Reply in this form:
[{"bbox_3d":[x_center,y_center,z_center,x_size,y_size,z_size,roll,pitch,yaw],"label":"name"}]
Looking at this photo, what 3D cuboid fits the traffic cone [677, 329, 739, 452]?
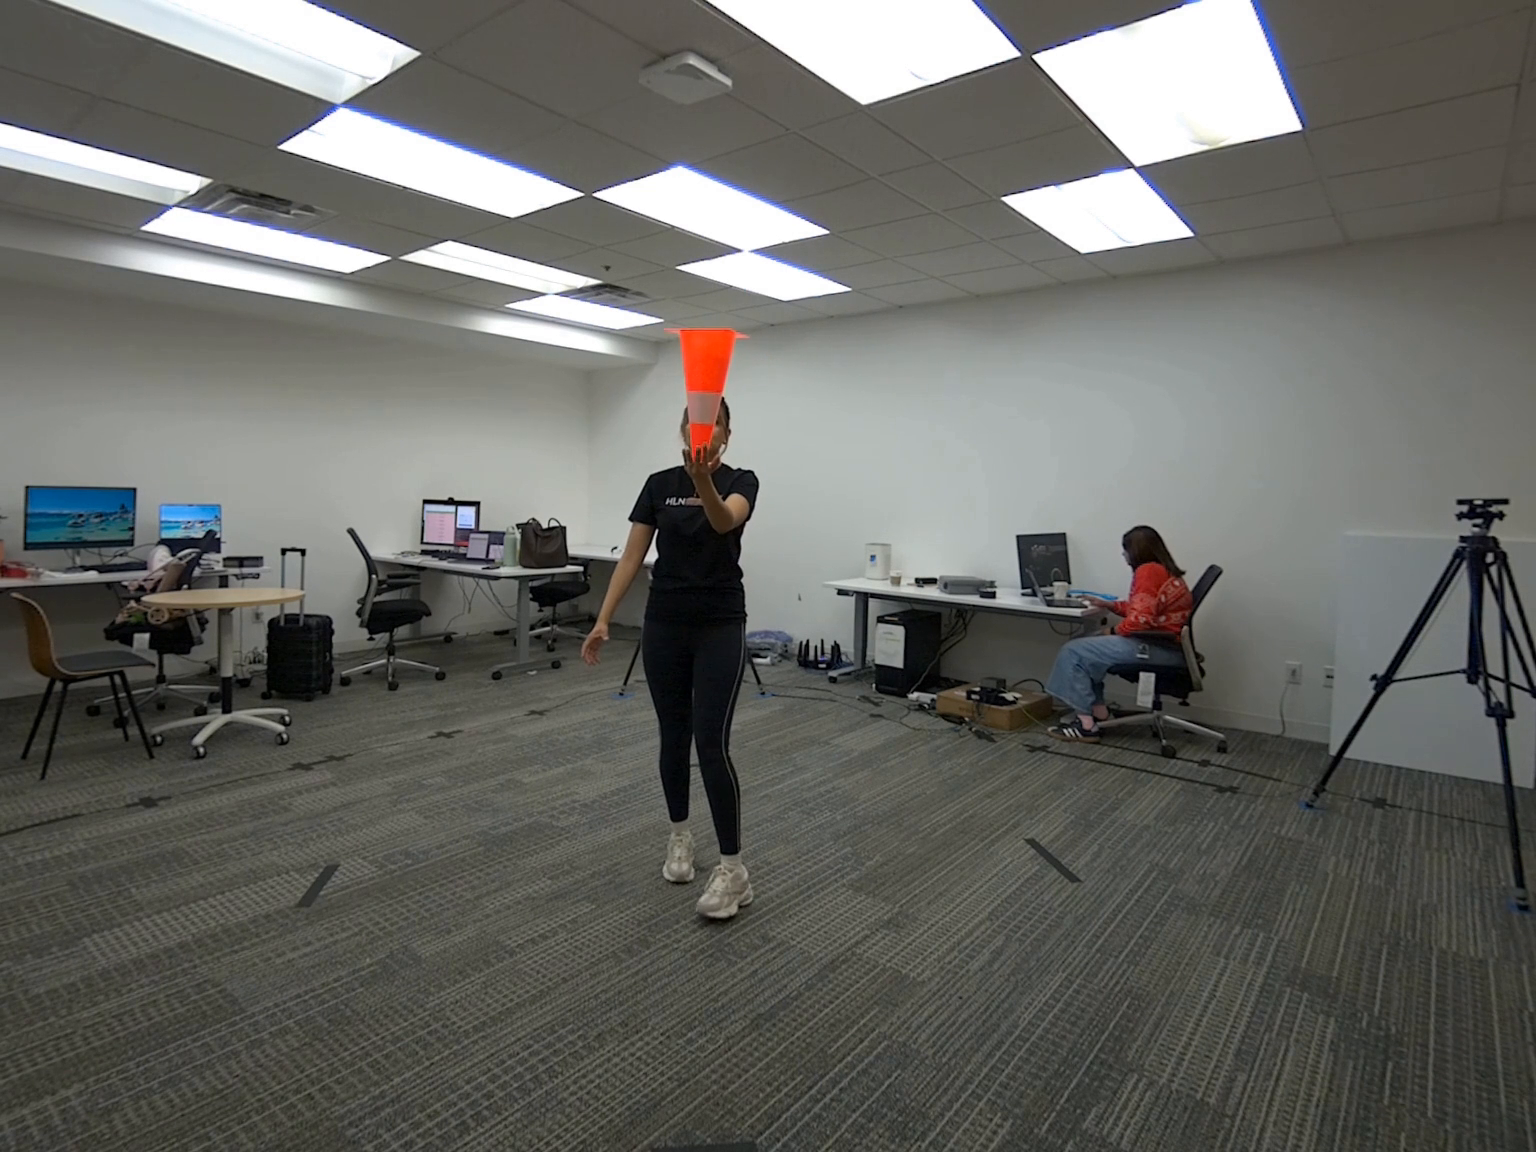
[{"bbox_3d":[-0.192,-0.505,2.423,0.208,0.381,0.201,7,7,22],"label":"traffic cone"}]
